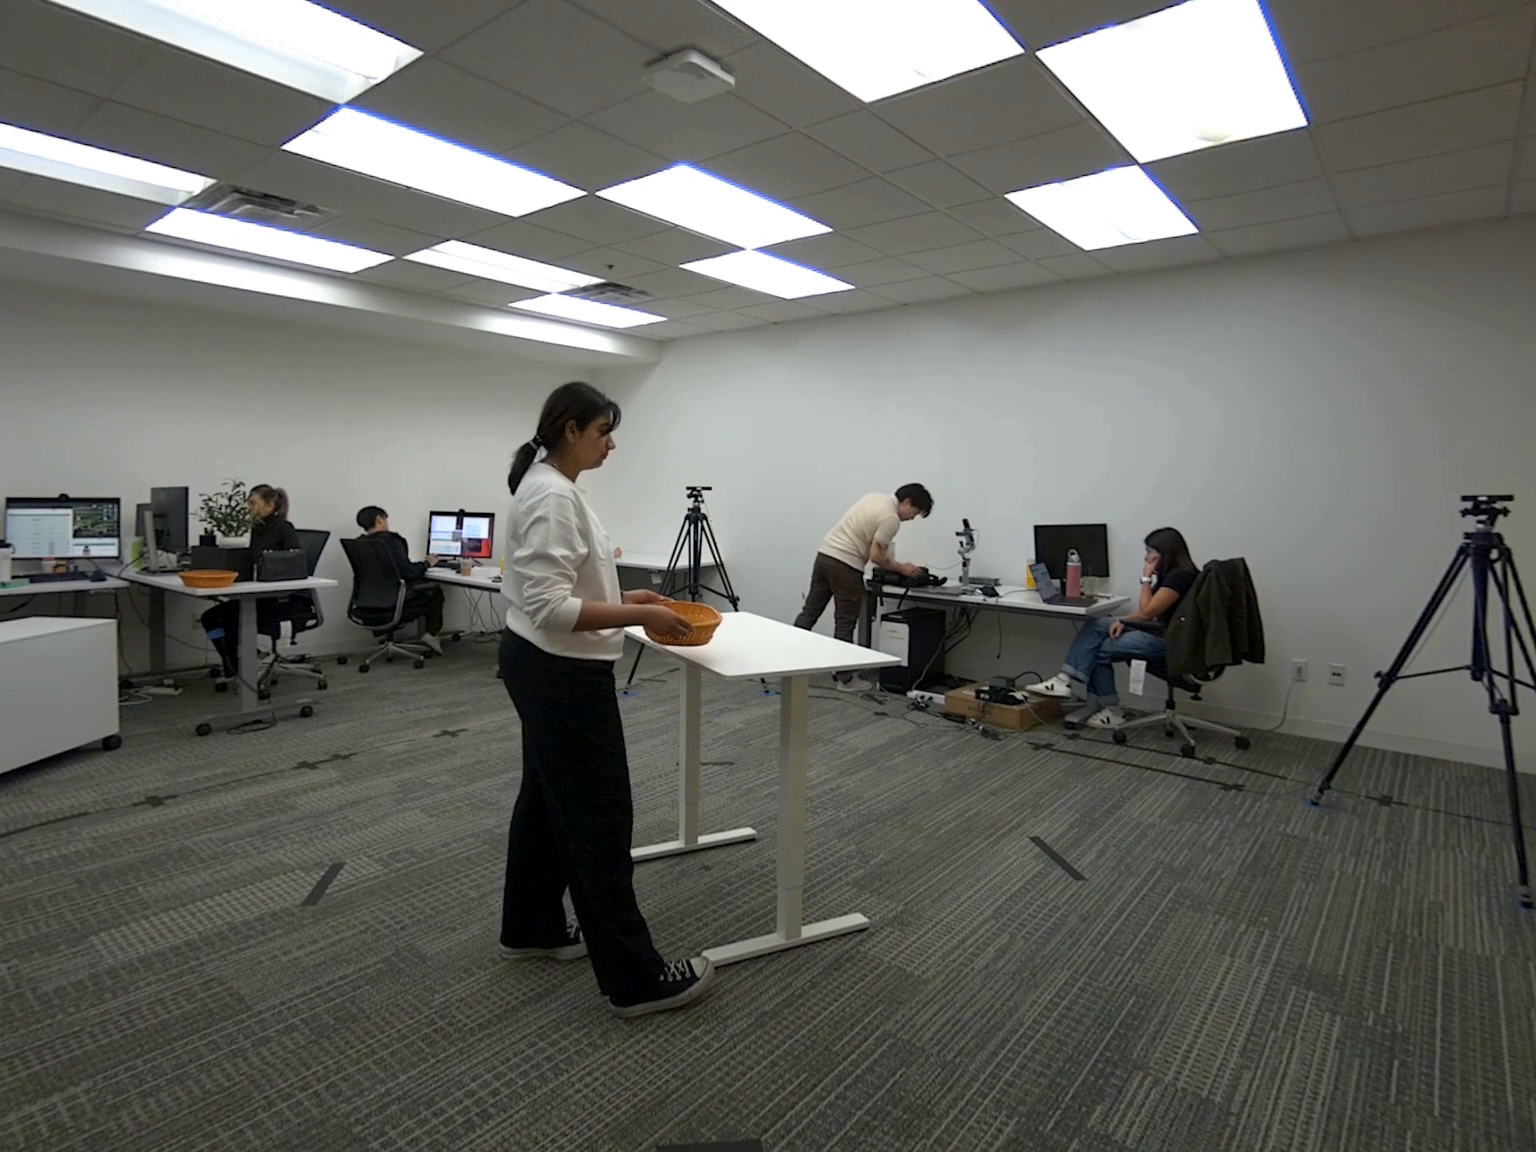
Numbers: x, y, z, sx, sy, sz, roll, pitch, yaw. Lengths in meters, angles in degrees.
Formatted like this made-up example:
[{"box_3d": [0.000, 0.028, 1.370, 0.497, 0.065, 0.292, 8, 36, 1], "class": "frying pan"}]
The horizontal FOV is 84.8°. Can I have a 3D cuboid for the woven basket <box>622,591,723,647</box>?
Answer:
[{"box_3d": [-0.306, 0.146, 2.495, 0.248, 0.073, 0.359, -3, 10, -18], "class": "woven basket"}]
